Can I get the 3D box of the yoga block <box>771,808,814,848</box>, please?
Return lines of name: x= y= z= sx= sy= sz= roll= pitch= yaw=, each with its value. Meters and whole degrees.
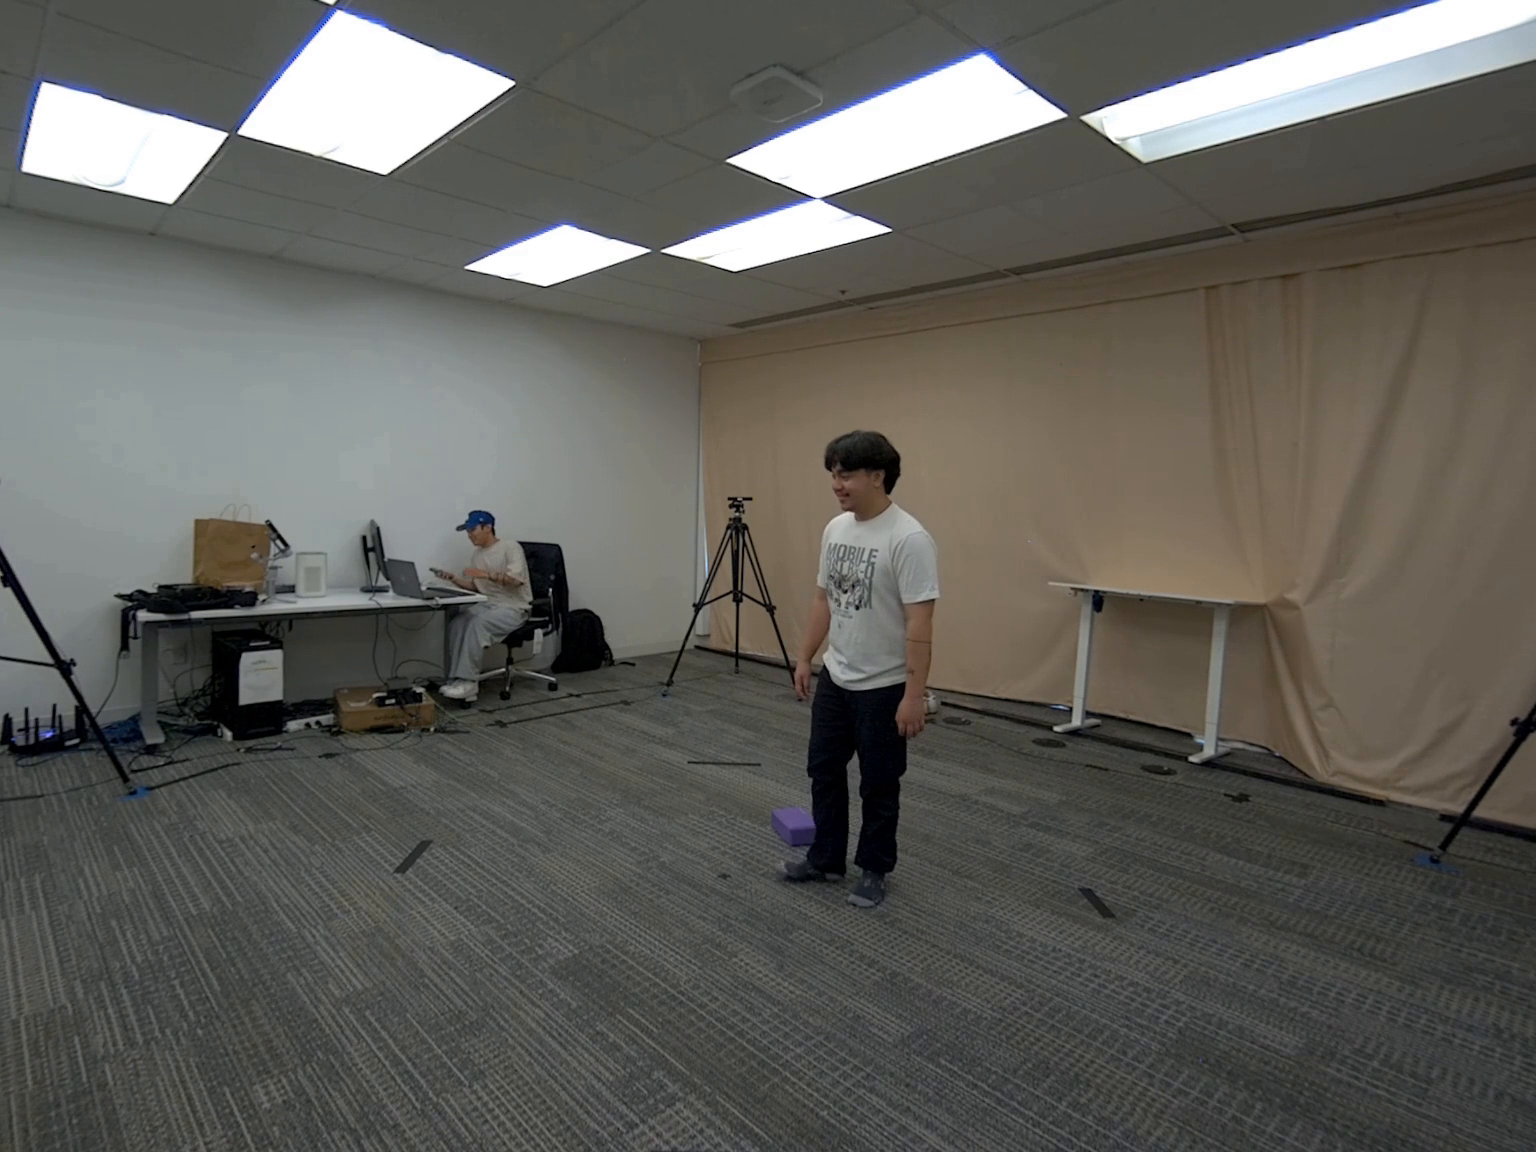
yoga block: x=0.111 y=1.039 z=3.501 sx=0.147 sy=0.076 sz=0.233 roll=-1 pitch=4 yaw=-18
